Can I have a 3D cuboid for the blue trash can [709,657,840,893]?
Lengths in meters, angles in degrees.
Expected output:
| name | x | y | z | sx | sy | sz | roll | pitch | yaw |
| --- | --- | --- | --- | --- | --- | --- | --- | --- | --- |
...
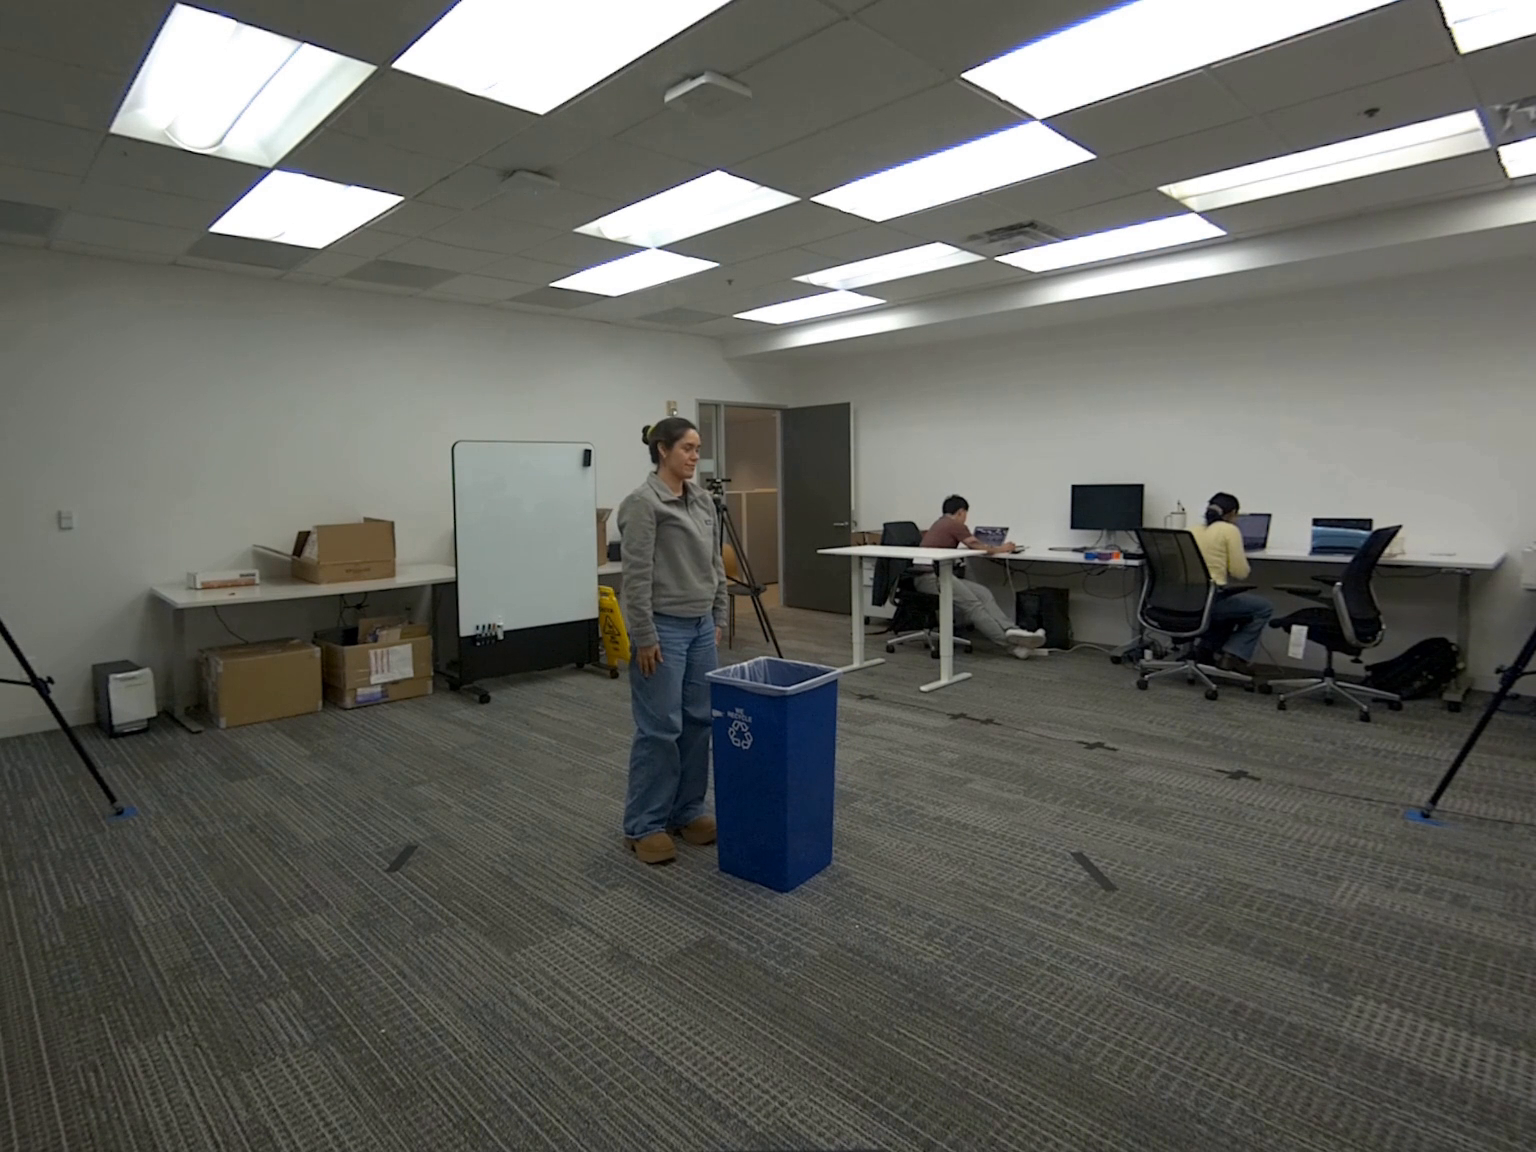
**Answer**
| name | x | y | z | sx | sy | sz | roll | pitch | yaw |
| --- | --- | --- | --- | --- | --- | --- | --- | --- | --- |
| blue trash can | 0.032 | 0.690 | 3.051 | 0.385 | 0.711 | 0.368 | 2 | 5 | 37 |
